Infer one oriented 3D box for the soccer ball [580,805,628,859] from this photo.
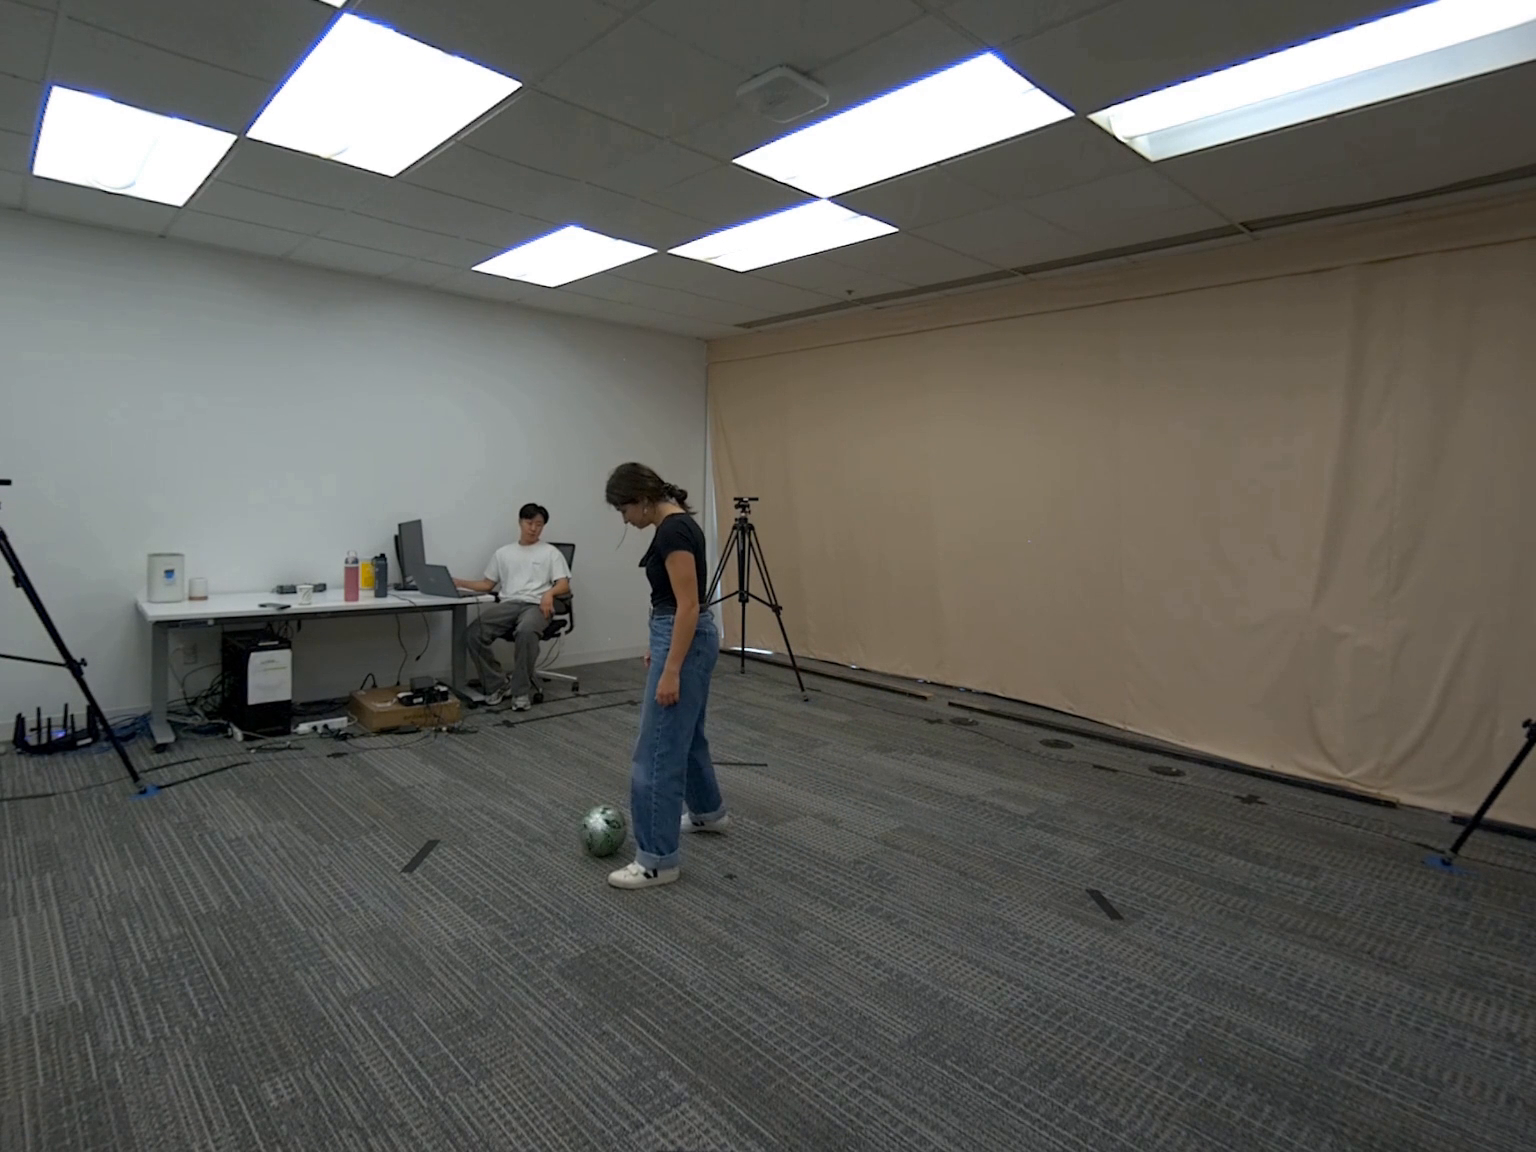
[{"bbox_3d":[-0.650,0.992,3.259,0.187,0.187,0.188,1,4,-1],"label":"soccer ball"}]
